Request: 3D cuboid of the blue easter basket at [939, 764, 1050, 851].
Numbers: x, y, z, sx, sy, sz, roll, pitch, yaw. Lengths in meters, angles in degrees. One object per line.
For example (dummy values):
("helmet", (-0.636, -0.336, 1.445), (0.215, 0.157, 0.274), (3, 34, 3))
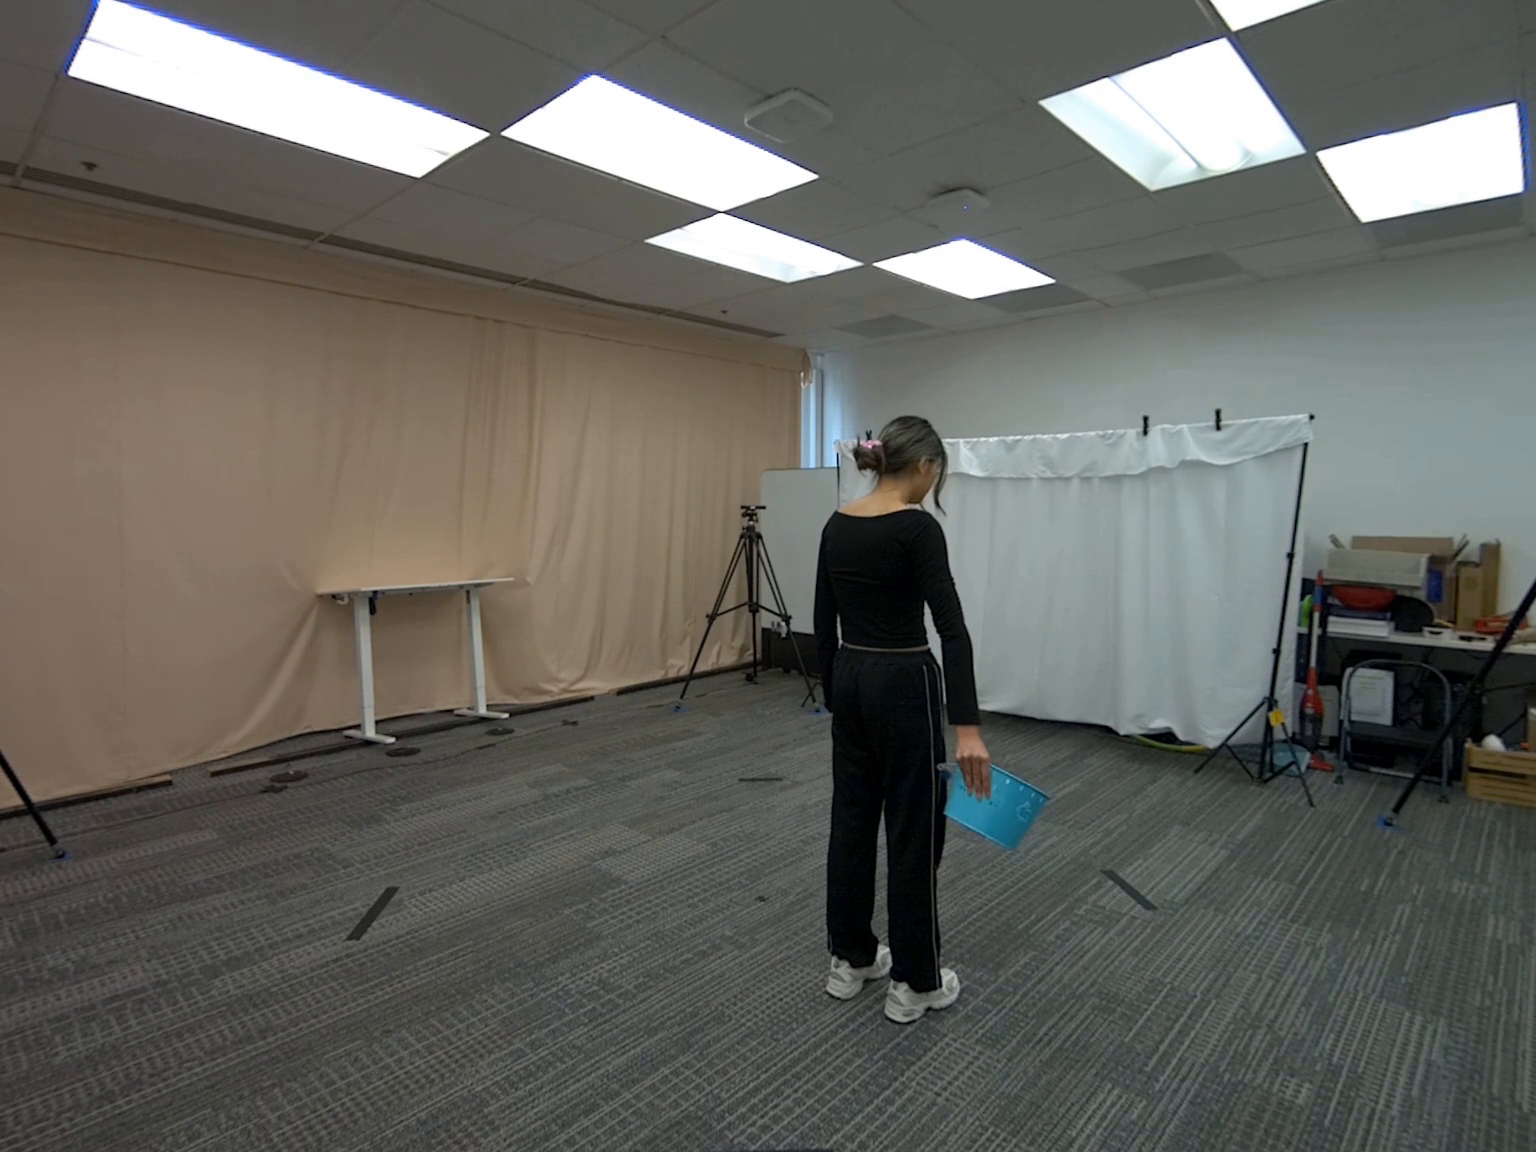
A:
("blue easter basket", (0.566, 0.556, 2.041), (0.244, 0.156, 0.243), (27, -5, 1))
